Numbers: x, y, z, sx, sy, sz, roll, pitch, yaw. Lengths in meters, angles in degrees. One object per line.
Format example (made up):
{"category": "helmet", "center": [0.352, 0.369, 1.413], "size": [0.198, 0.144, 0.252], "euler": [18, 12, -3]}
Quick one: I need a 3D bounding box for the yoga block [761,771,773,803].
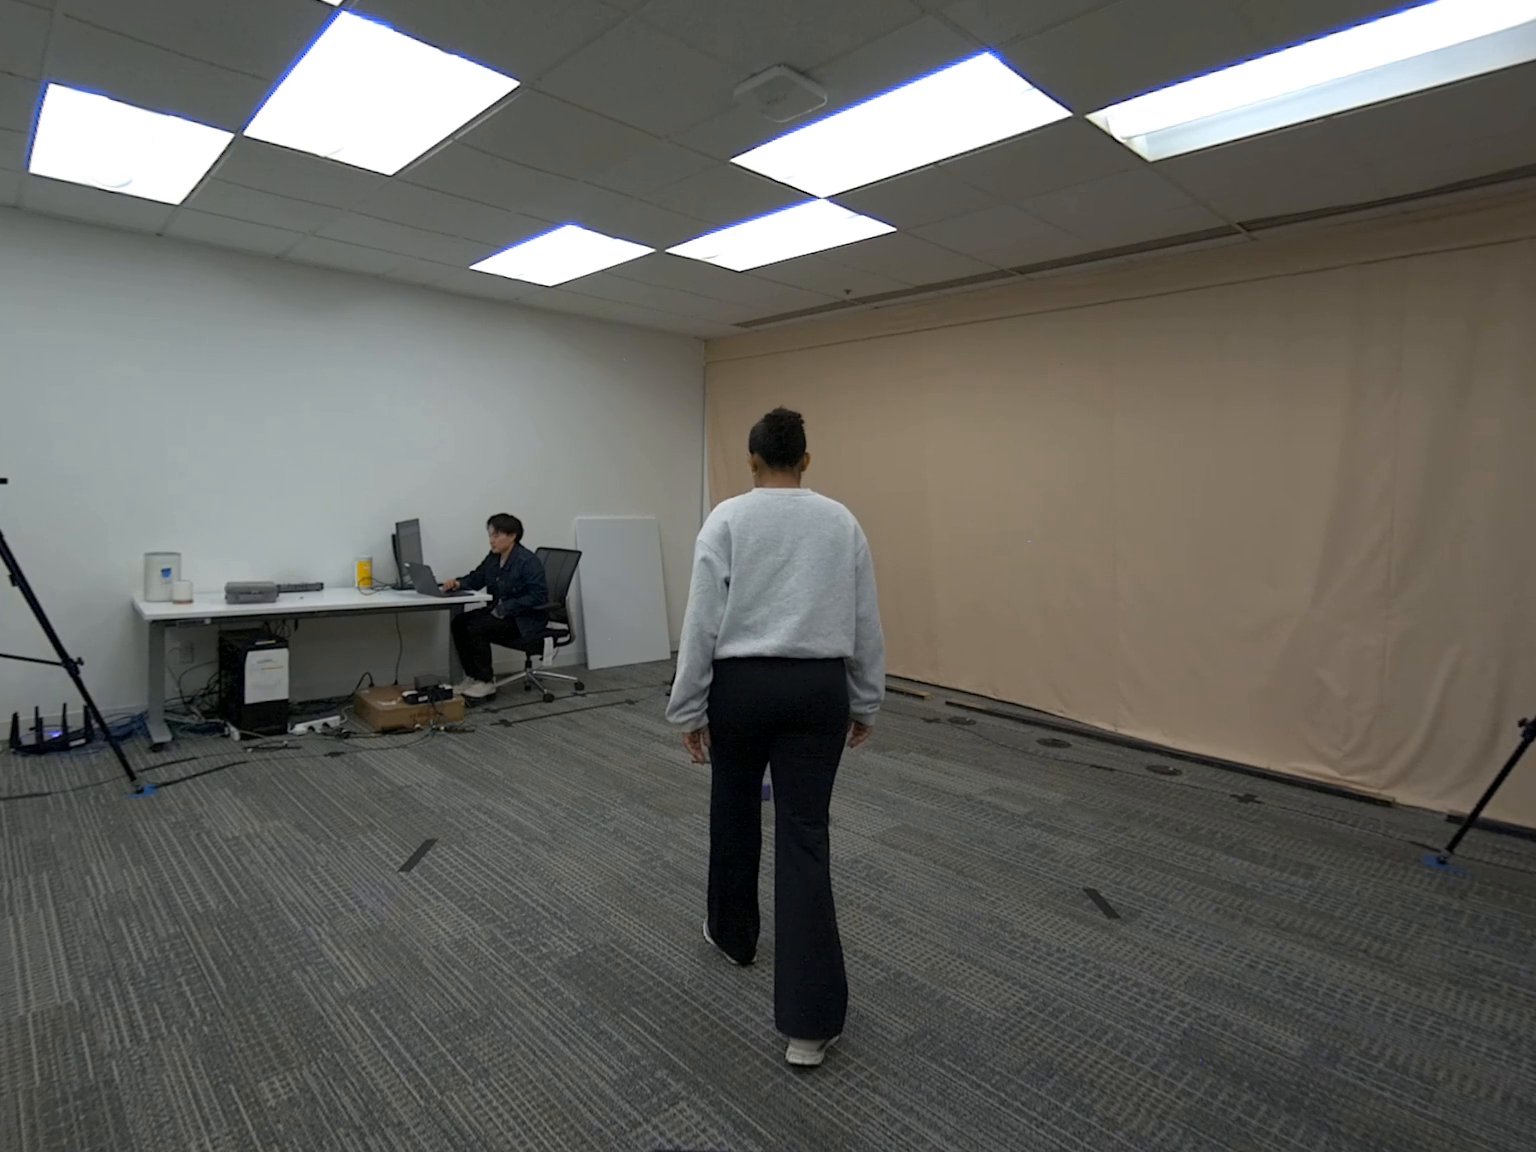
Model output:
{"category": "yoga block", "center": [-0.121, 0.995, 3.945], "size": [0.227, 0.076, 0.151], "euler": [-2, 6, -14]}
